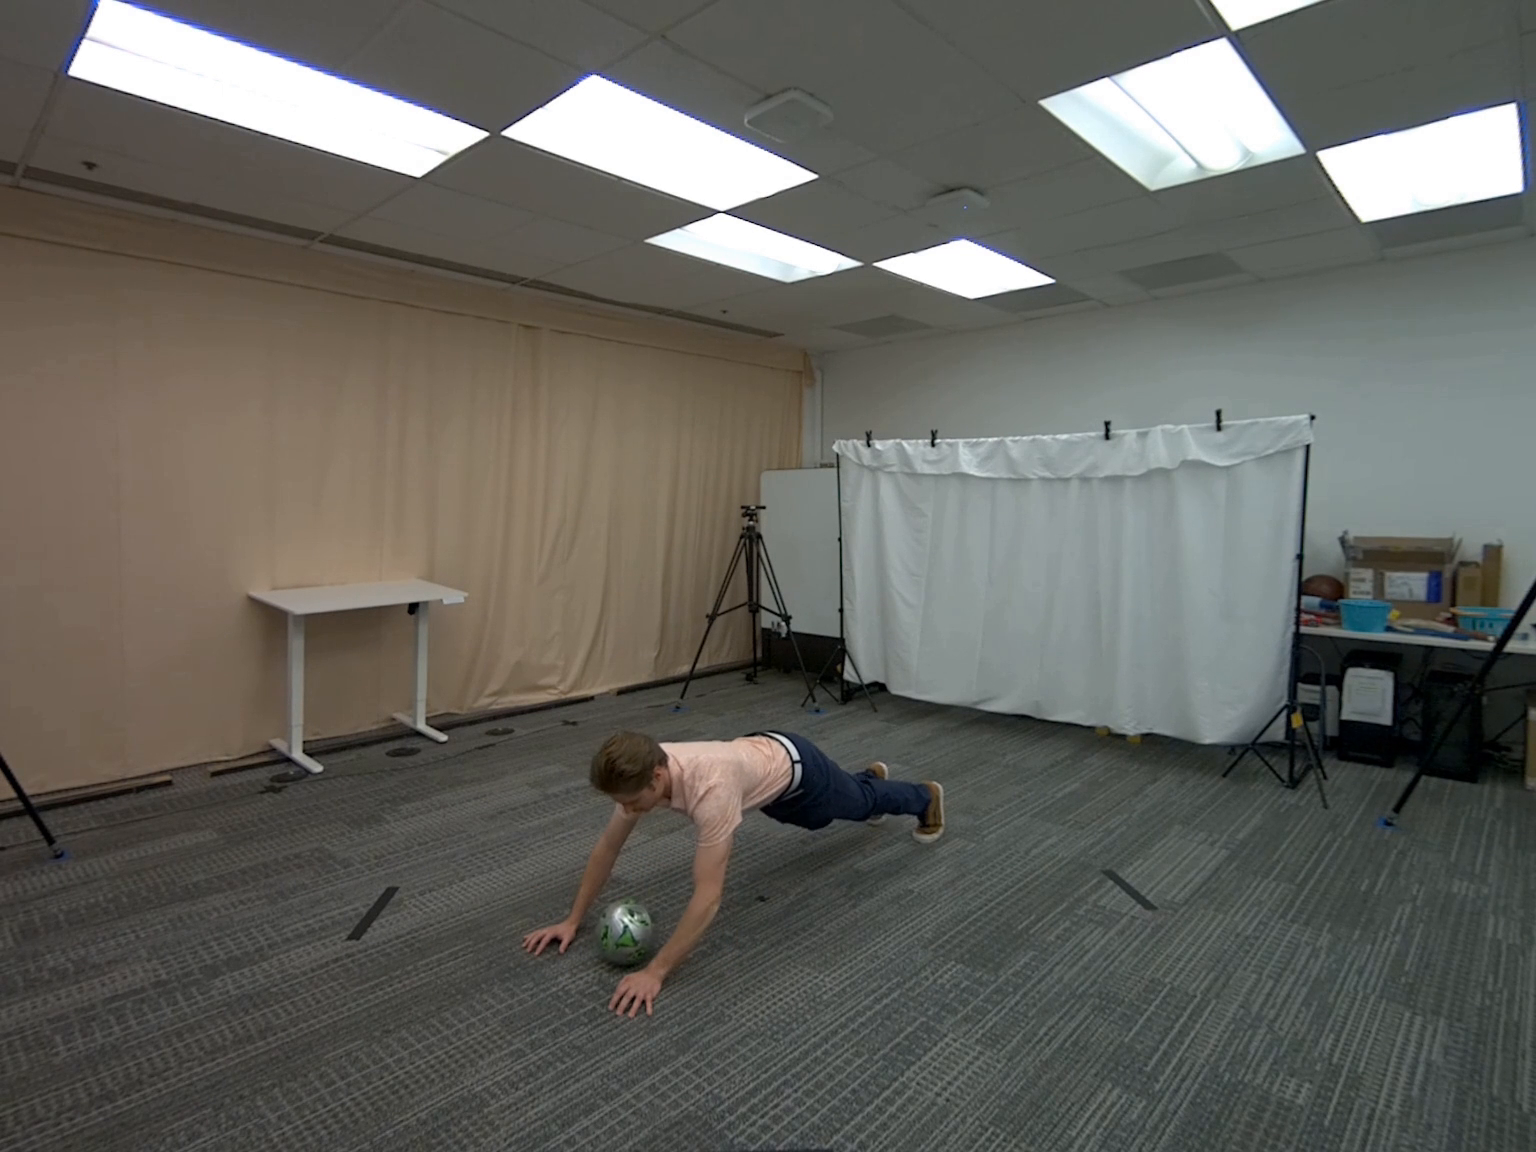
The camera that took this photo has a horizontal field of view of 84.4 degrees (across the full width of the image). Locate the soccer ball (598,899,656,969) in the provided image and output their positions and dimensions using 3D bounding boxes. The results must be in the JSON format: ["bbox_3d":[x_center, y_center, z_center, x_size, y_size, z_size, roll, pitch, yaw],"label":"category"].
[{"bbox_3d":[-0.435,1.091,2.573,0.187,0.187,0.188,0,4,-2],"label":"soccer ball"}]
